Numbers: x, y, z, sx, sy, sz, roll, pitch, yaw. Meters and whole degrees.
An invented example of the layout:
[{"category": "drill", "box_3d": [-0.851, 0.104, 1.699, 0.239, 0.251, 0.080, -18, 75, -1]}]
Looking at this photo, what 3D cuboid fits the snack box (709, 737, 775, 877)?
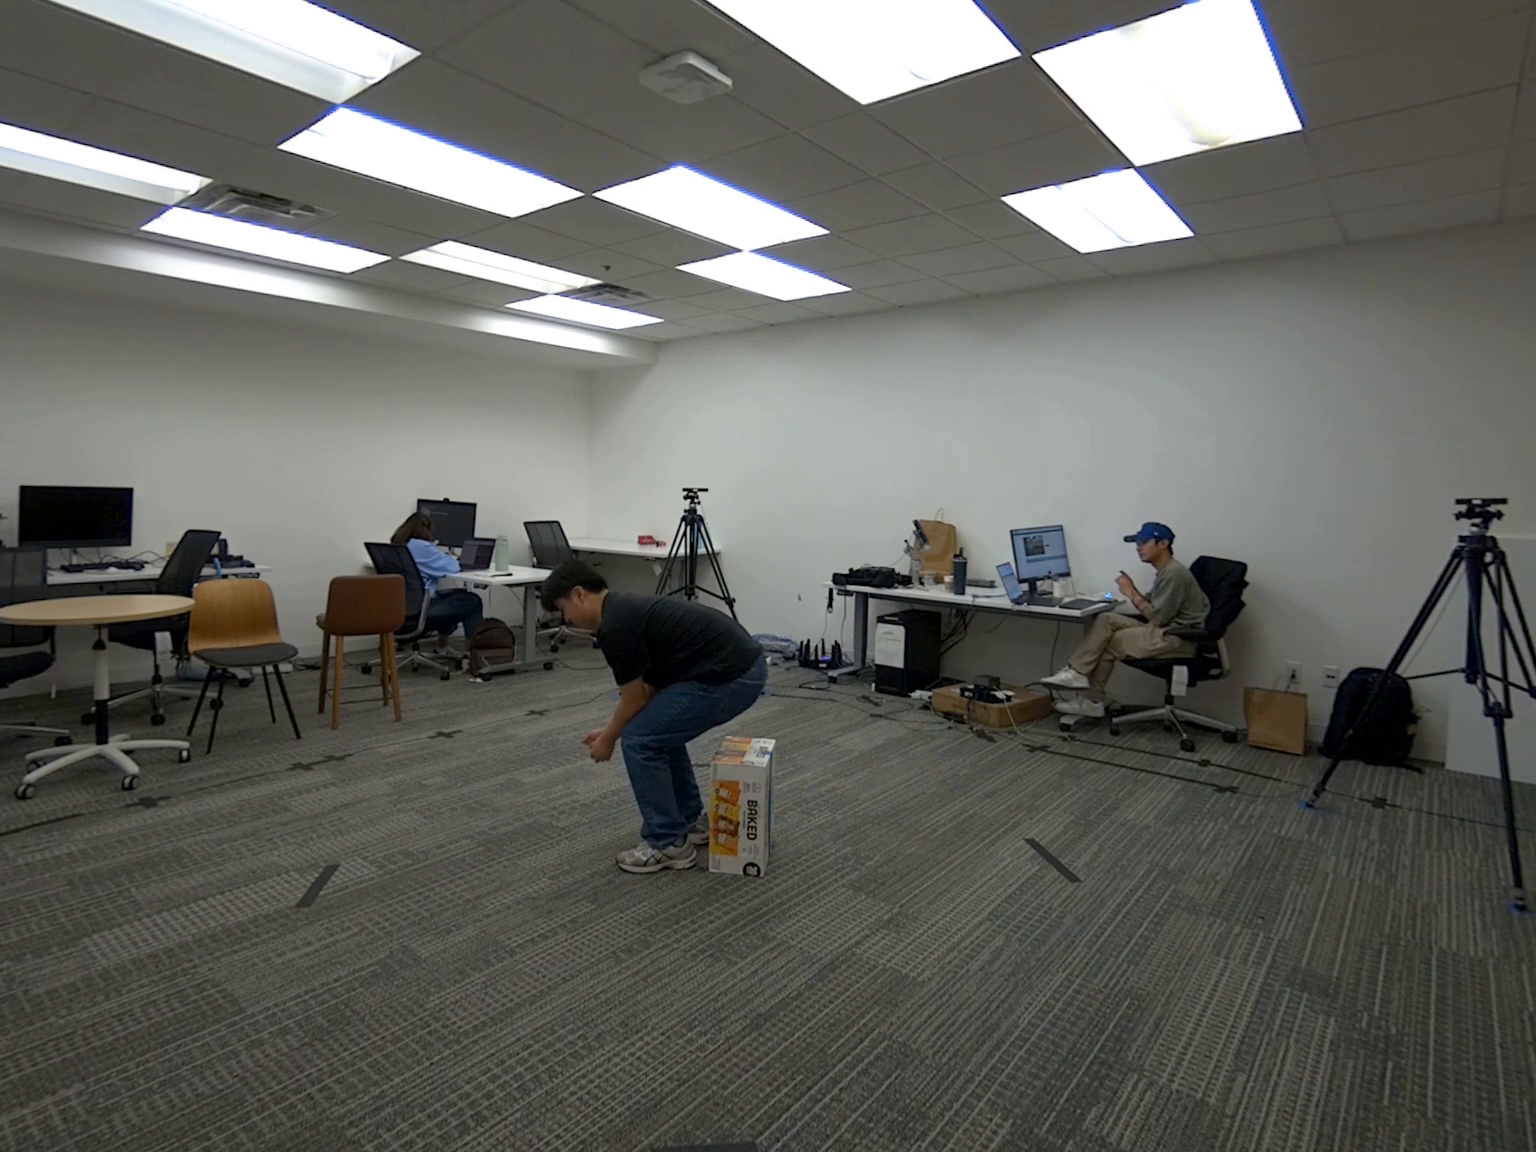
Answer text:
[{"category": "snack box", "box_3d": [-0.102, 0.858, 3.225, 0.208, 0.404, 0.338, 2, 4, 8]}]
